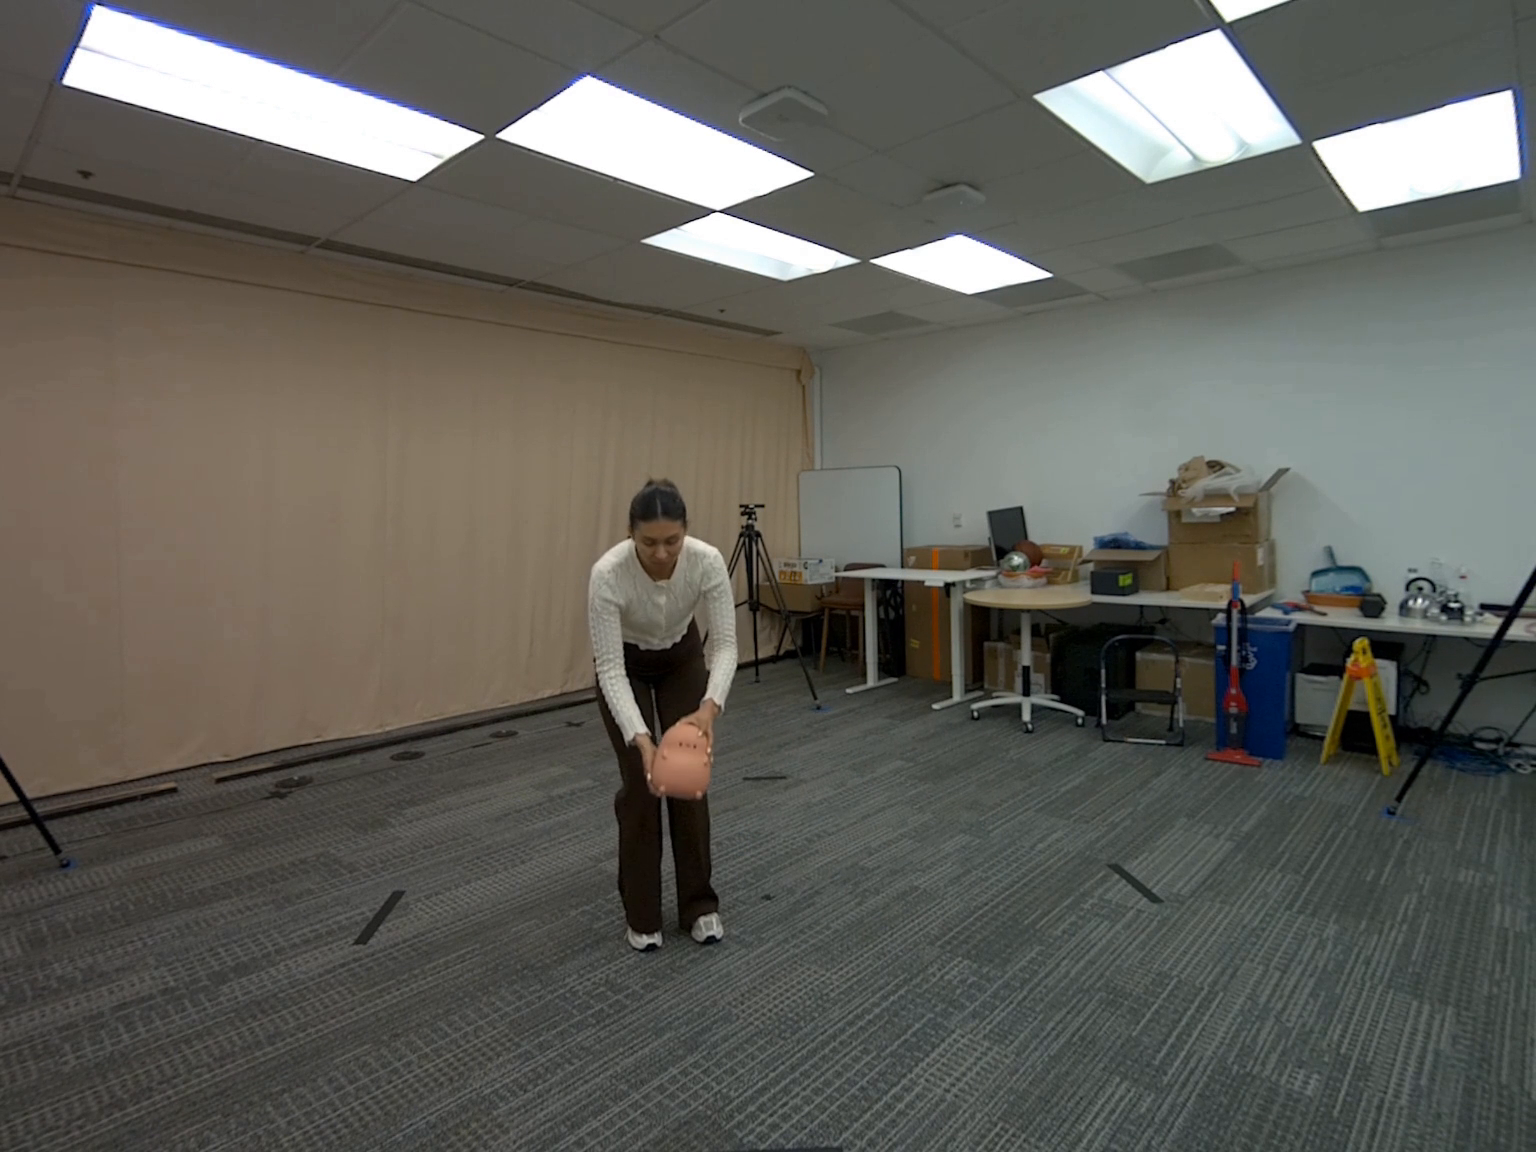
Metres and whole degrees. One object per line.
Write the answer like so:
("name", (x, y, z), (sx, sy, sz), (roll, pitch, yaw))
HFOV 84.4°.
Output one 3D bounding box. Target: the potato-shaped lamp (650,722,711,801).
("potato-shaped lamp", (-0.237, 0.513, 2.368), (0.164, 0.199, 0.171), (10, -11, -4))
